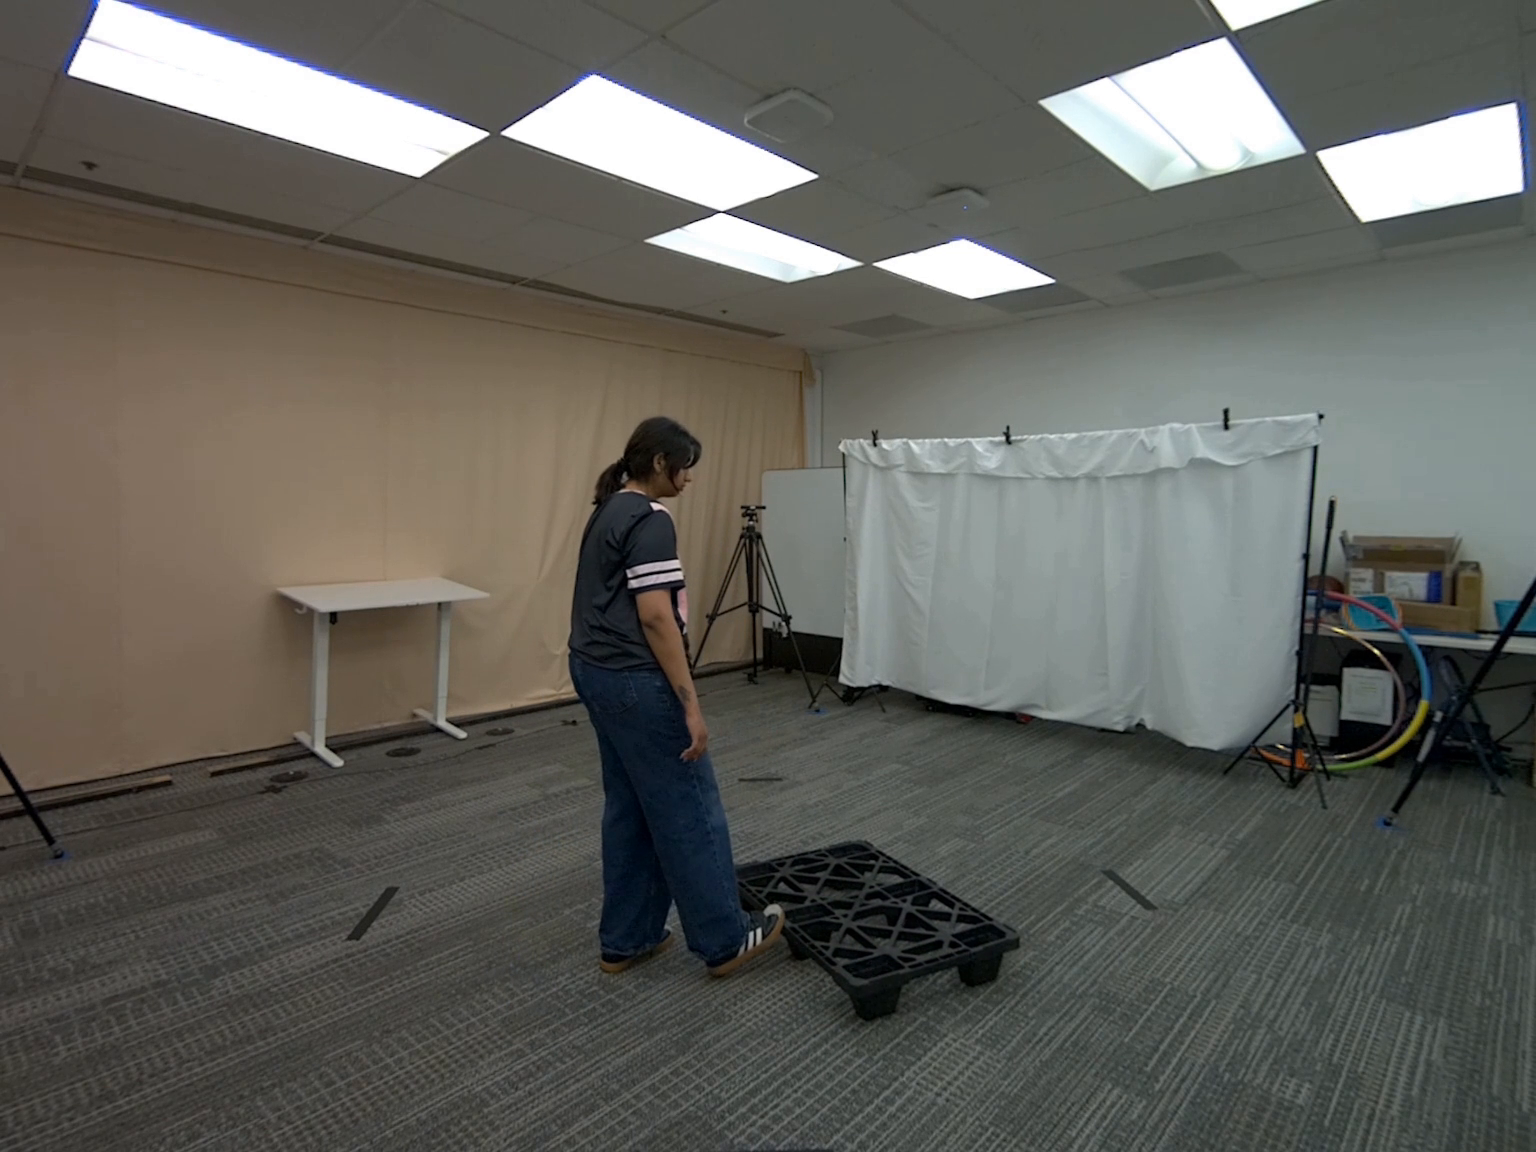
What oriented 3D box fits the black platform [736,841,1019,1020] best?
[{"bbox_3d":[0.300,1.099,2.699,0.590,0.143,0.828,-2,5,-28],"label":"black platform"}]
